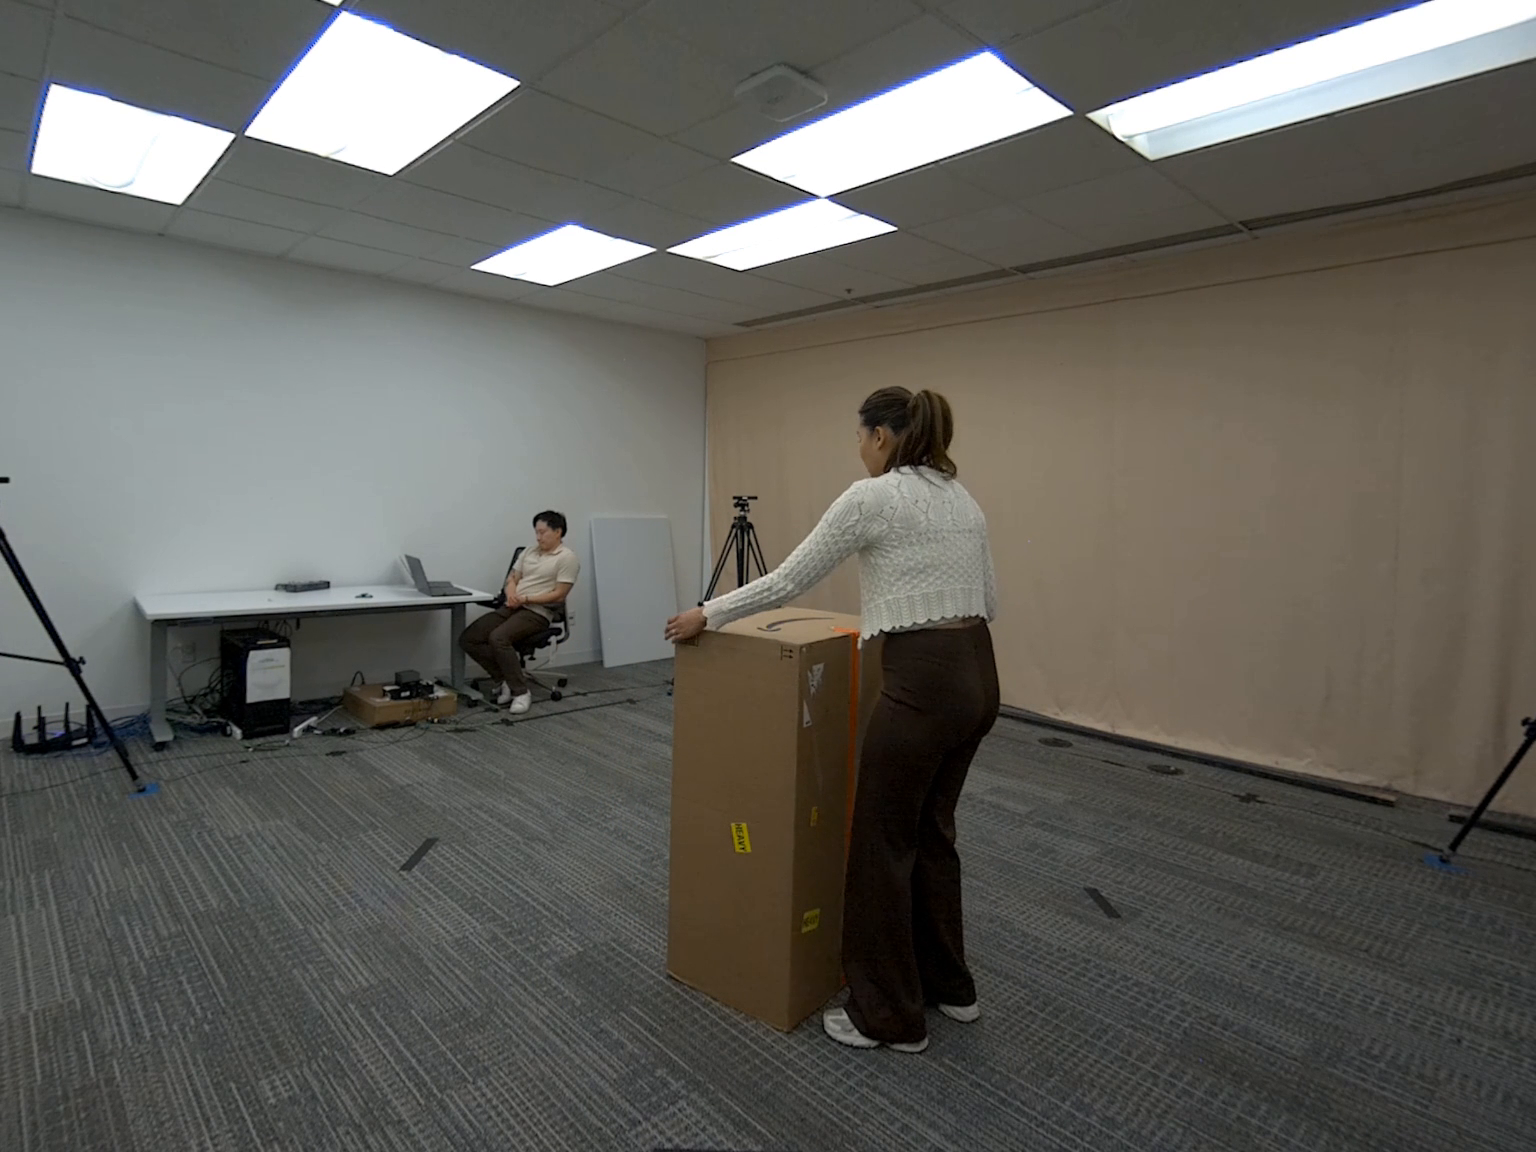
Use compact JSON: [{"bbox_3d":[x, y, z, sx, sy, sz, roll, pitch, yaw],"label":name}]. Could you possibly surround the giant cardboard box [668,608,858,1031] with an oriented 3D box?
[{"bbox_3d":[0.048,0.650,2.514,0.436,1.023,0.565,4,4,36],"label":"giant cardboard box"}]
